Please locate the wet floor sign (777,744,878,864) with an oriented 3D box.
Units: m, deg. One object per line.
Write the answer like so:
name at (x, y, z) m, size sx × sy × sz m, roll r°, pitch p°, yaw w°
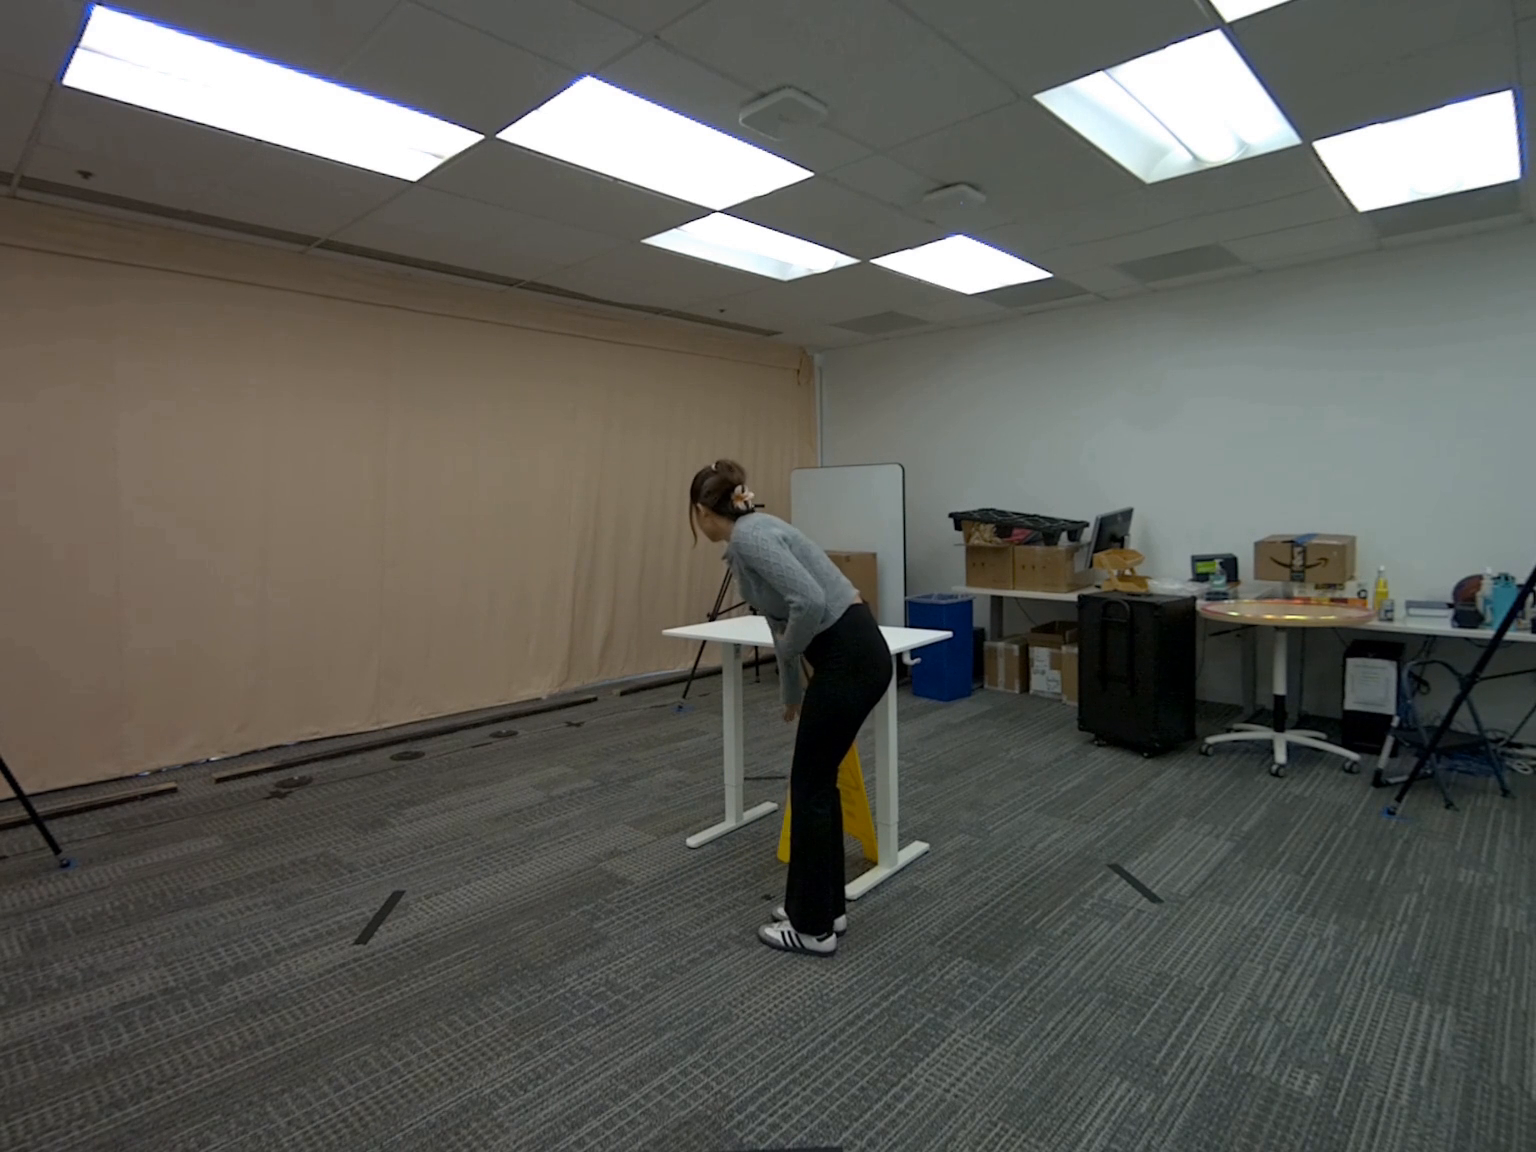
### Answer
wet floor sign at (0.233, 0.786, 3.267) m, size 0.281 × 0.645 × 0.291 m, roll -2°, pitch 4°, yaw -35°
